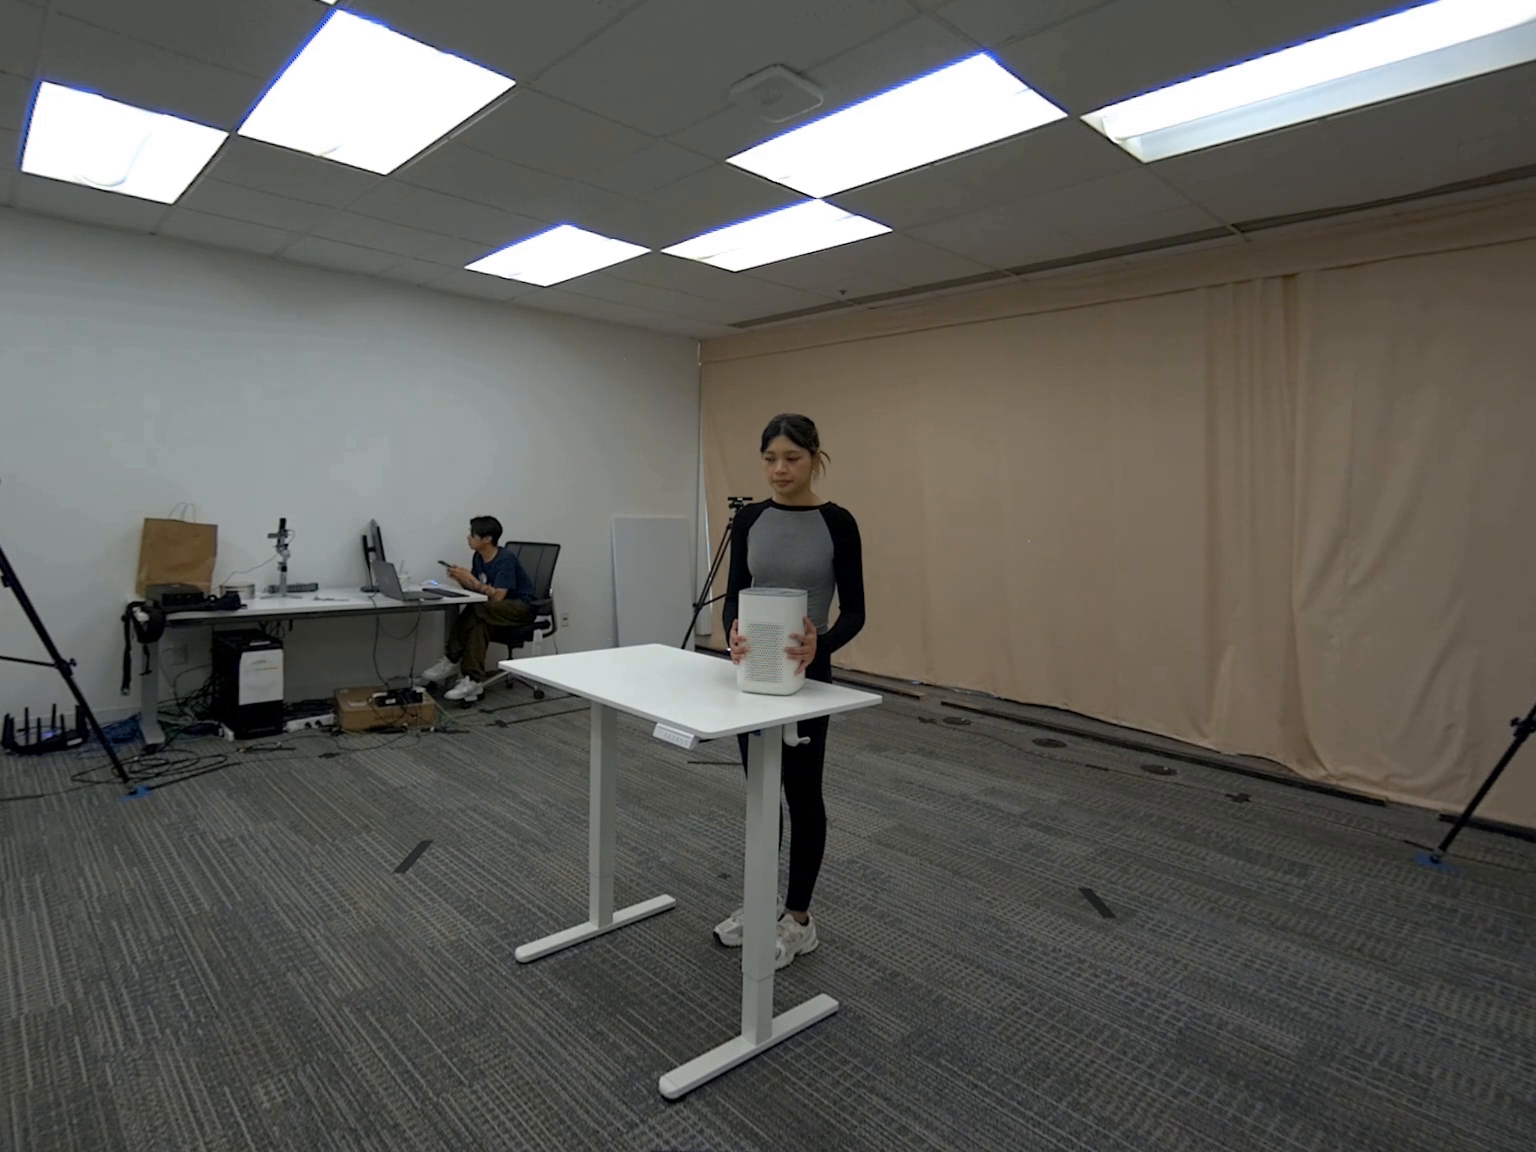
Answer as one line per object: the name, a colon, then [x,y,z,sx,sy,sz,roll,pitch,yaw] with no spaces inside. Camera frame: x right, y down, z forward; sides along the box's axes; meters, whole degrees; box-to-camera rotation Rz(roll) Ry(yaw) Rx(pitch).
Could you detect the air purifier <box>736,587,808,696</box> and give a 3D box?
air purifier: [-0.002,0.178,2.238,0.174,0.265,0.169,2,2,14]
